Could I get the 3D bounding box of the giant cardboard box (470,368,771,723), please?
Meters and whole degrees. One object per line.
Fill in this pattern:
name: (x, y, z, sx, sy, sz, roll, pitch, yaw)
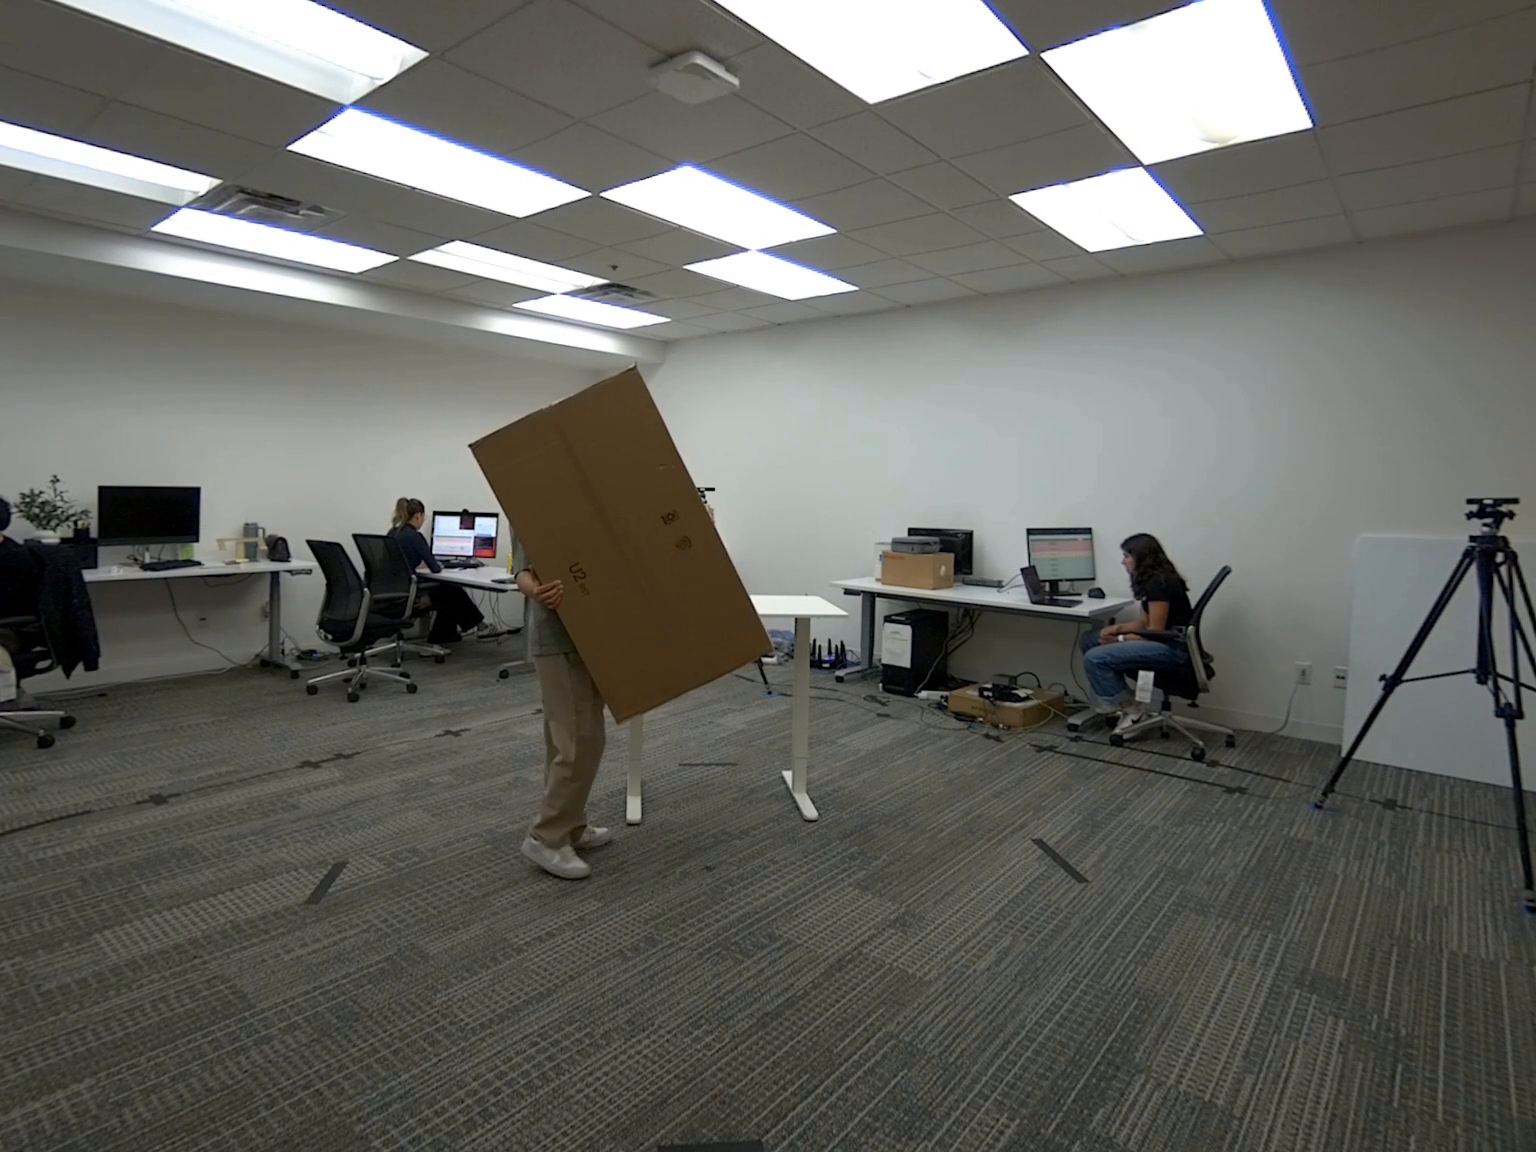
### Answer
giant cardboard box: (-0.484, -0.122, 2.880, 0.577, 1.010, 0.433, -26, 12, -1)
